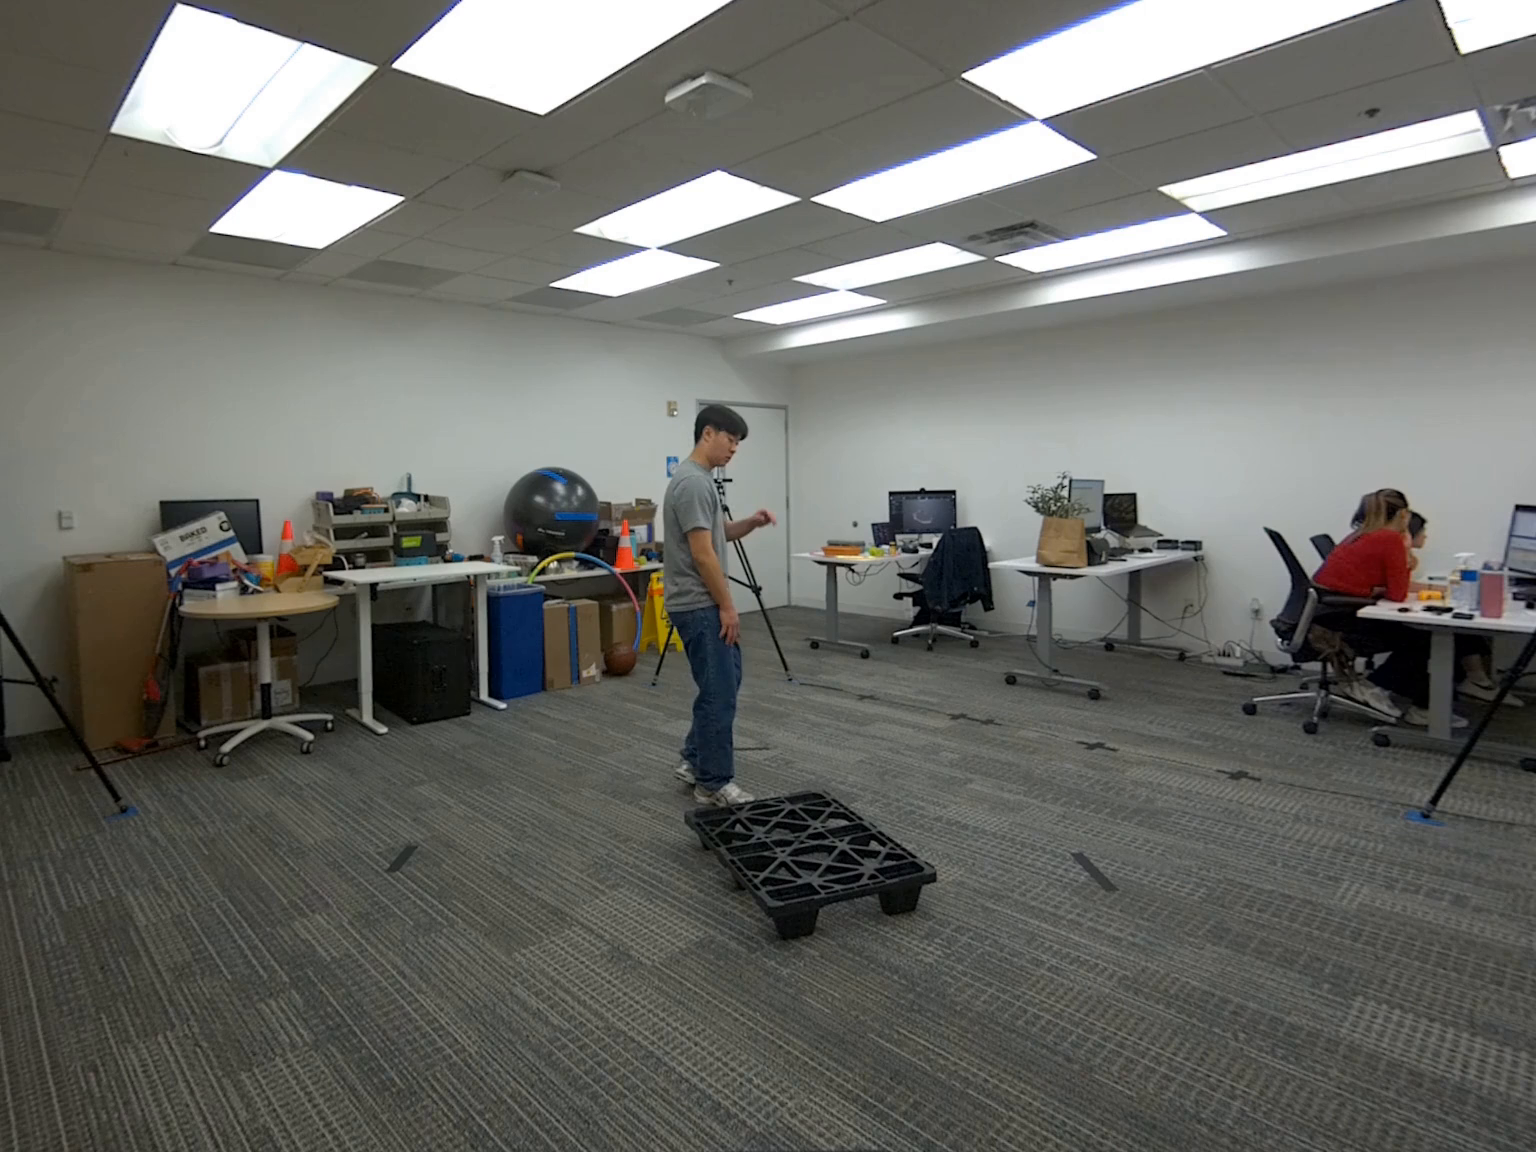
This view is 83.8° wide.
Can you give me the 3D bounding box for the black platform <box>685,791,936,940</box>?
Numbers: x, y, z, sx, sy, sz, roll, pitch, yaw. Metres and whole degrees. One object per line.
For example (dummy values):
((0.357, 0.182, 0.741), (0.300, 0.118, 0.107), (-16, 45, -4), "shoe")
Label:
((0.113, 0.985, 2.996), (0.594, 0.142, 0.825), (-4, 7, -23), "black platform")
